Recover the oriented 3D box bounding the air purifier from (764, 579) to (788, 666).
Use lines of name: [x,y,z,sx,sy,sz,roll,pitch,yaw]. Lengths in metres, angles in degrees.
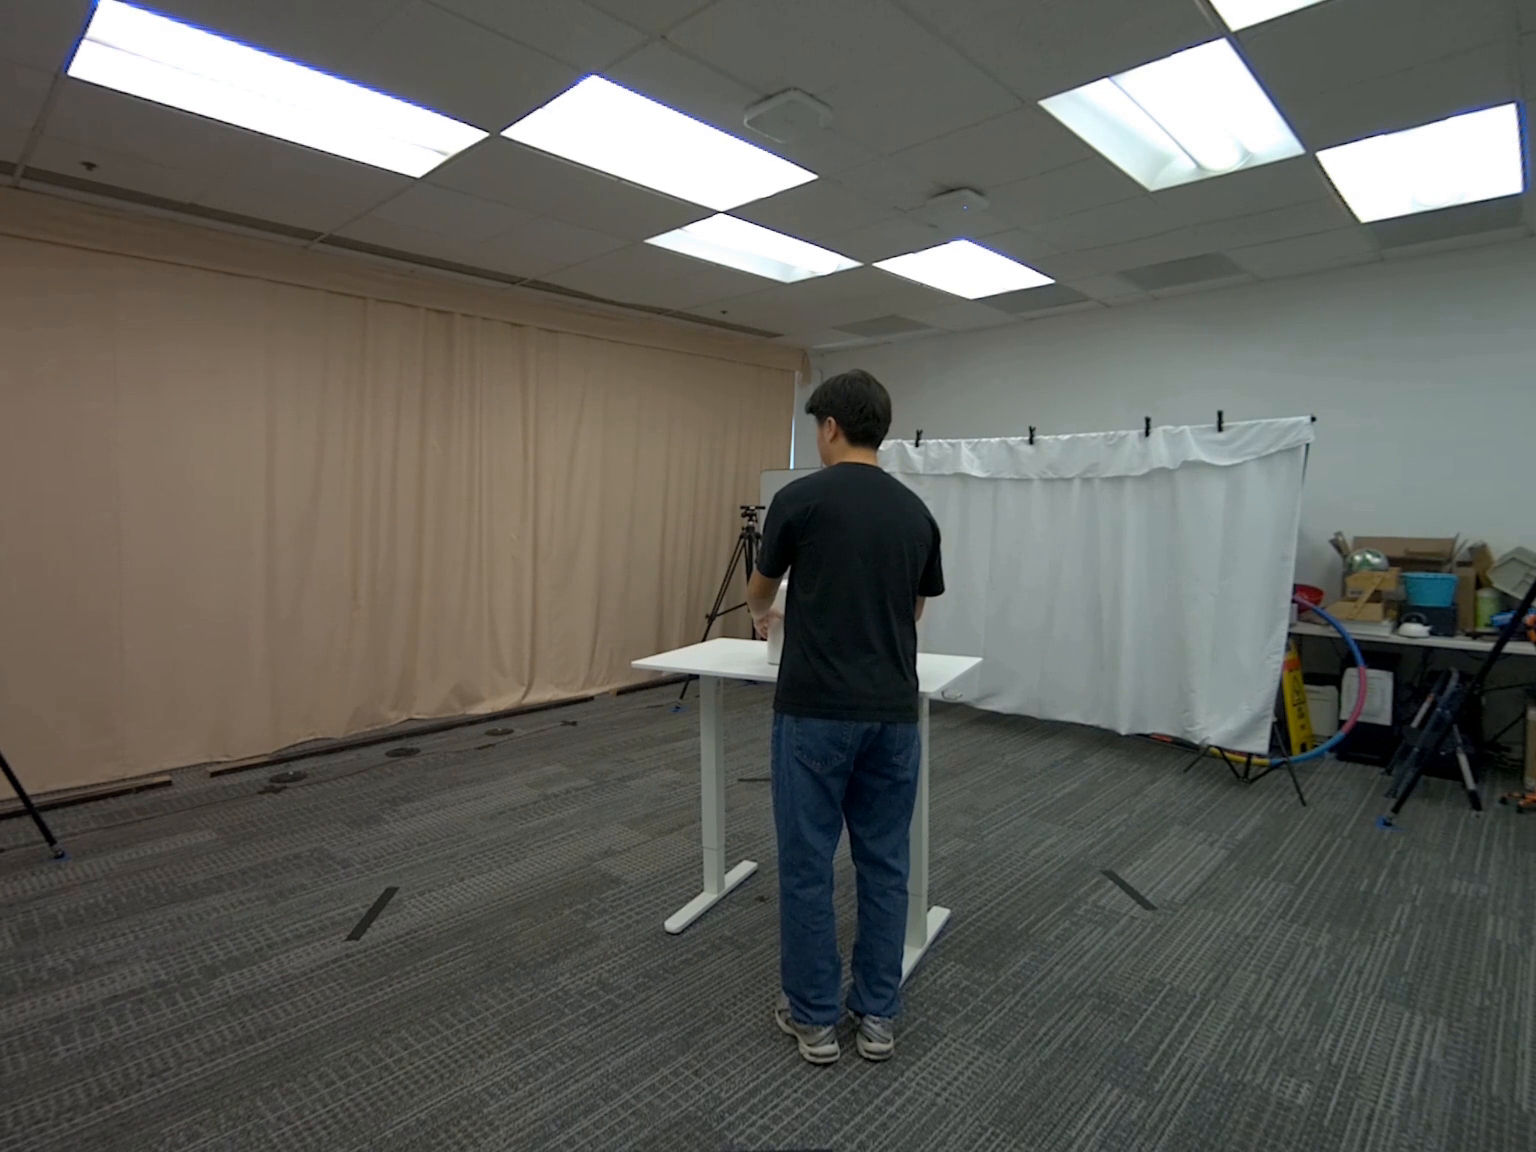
air purifier: [0.097,0.146,2.733,0.175,0.265,0.168,2,3,21]
